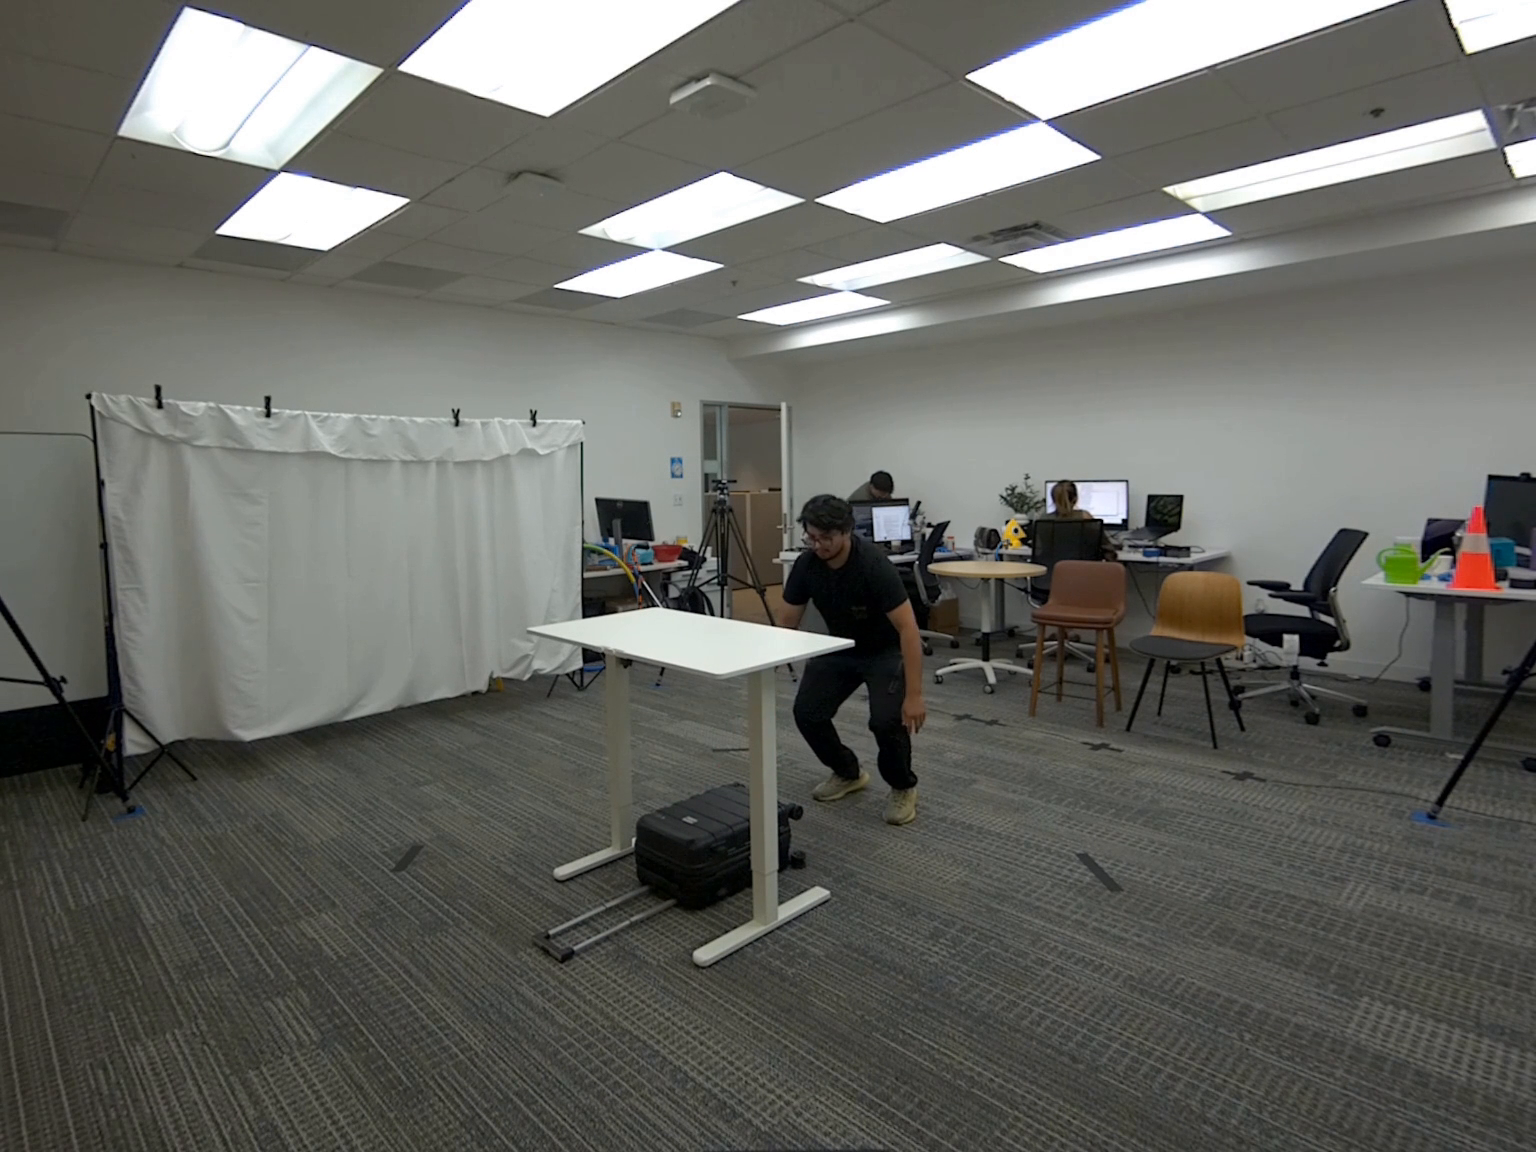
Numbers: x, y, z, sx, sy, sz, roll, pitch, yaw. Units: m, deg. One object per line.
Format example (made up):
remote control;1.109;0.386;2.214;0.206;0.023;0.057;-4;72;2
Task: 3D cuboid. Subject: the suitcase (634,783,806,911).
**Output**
suitcase;-0.317;0.955;2.877;0.396;0.256;0.952;6;8;44
